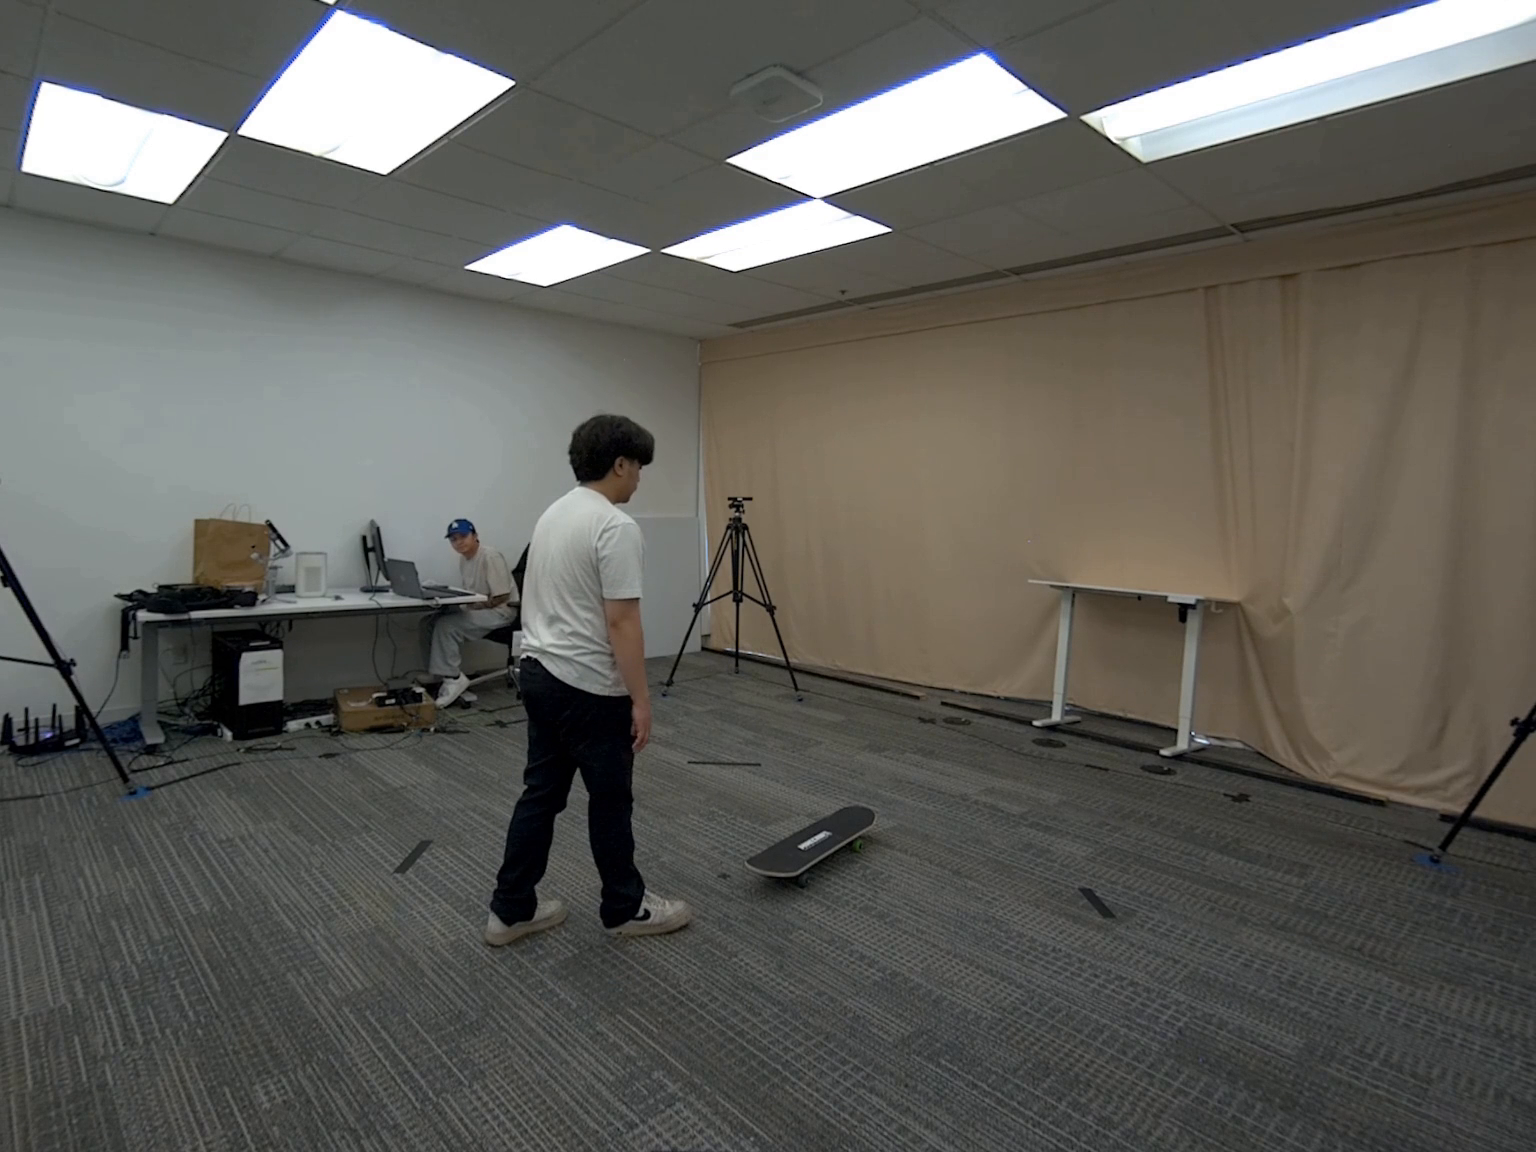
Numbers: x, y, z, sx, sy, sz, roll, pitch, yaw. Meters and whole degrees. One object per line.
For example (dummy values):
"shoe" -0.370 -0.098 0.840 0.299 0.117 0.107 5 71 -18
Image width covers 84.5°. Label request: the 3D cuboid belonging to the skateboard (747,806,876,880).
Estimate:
"skateboard" 0.175 1.045 3.234 0.198 0.110 0.769 4 6 35
